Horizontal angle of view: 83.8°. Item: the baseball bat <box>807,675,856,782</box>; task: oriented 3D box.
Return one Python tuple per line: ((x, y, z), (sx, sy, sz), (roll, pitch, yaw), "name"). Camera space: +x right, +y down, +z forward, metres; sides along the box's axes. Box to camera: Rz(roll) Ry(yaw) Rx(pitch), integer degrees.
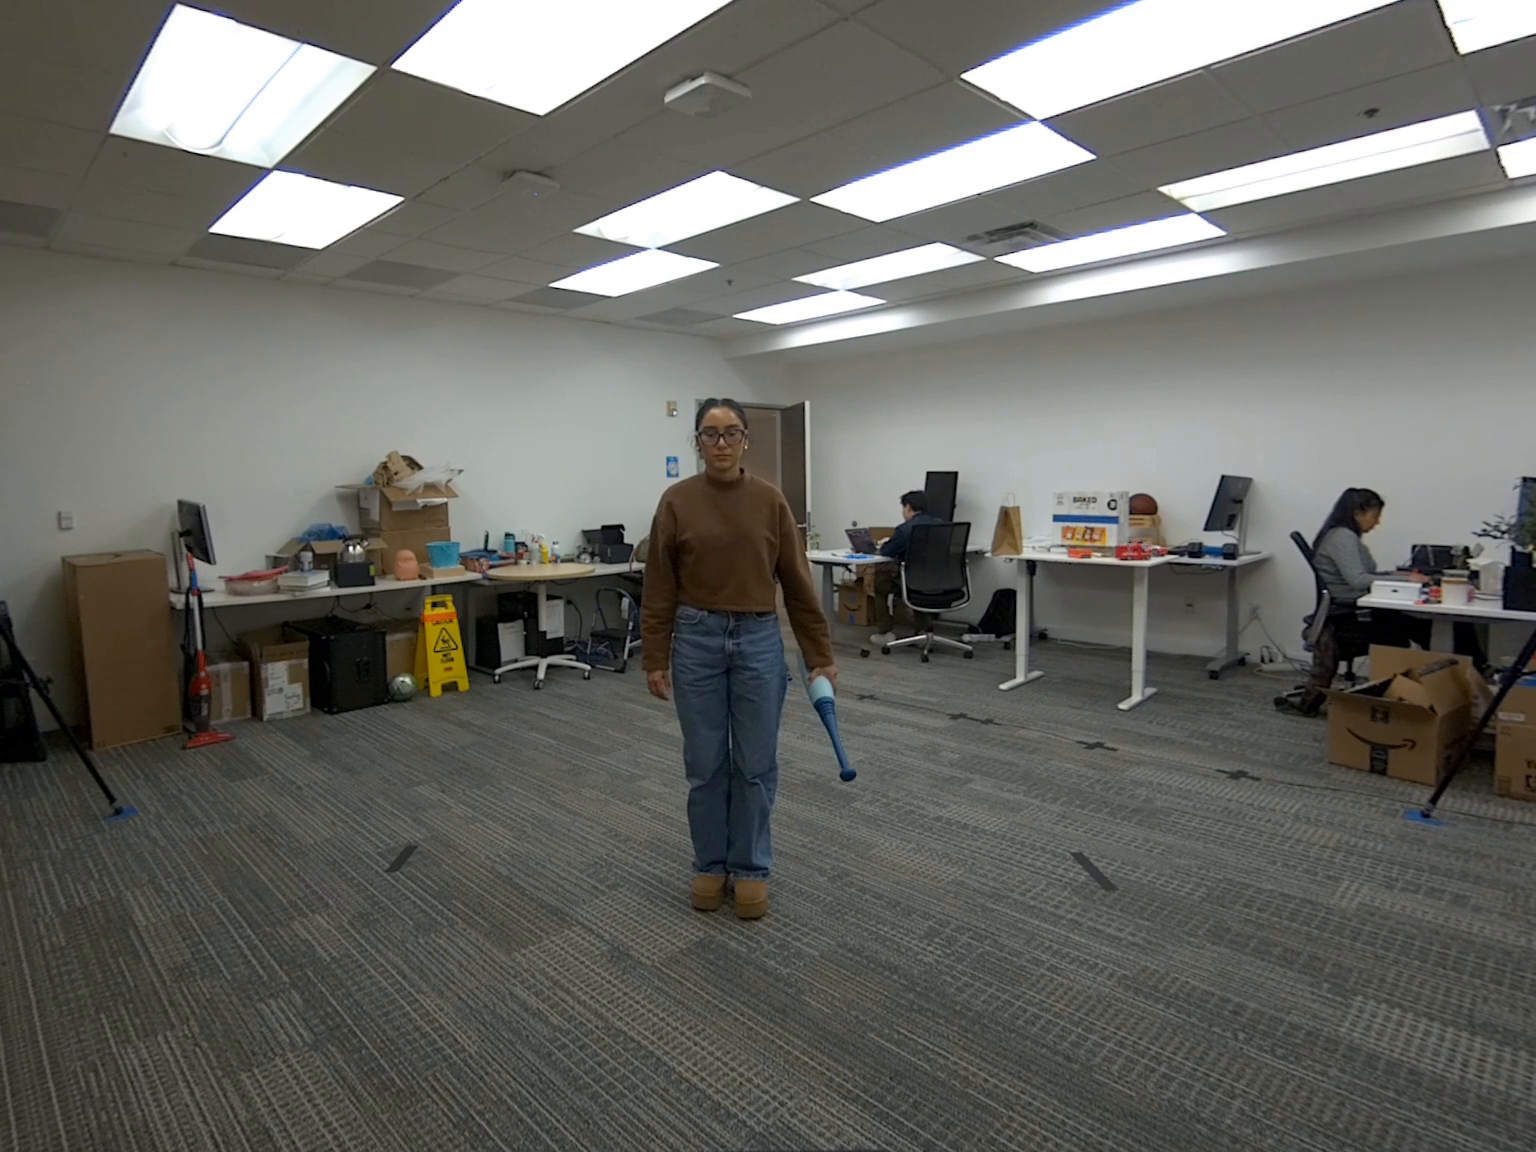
((0.174, 0.414, 2.698), (0.088, 0.087, 0.561), (-2, 36, -10), "baseball bat")
